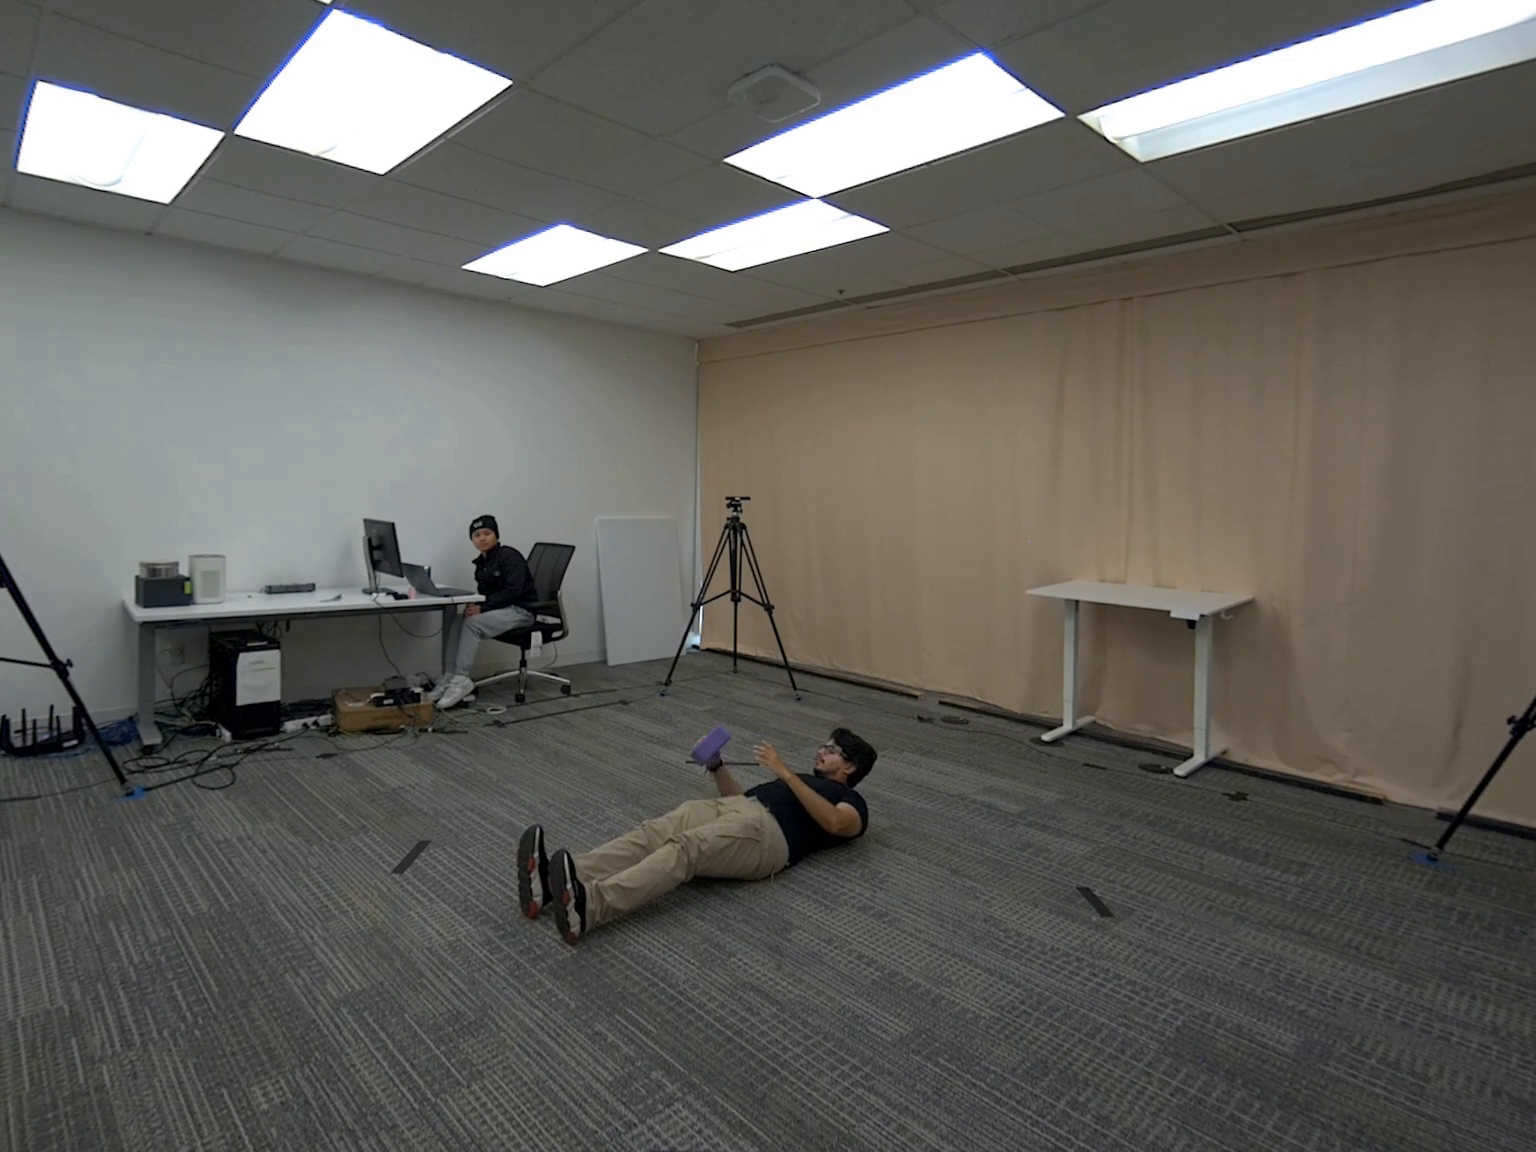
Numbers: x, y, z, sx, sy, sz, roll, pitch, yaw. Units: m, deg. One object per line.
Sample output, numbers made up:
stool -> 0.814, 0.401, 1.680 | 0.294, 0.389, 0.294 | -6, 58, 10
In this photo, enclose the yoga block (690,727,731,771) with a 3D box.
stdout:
yoga block -> -0.254, 0.715, 3.454 | 0.077, 0.149, 0.227 | 45, -13, 6
